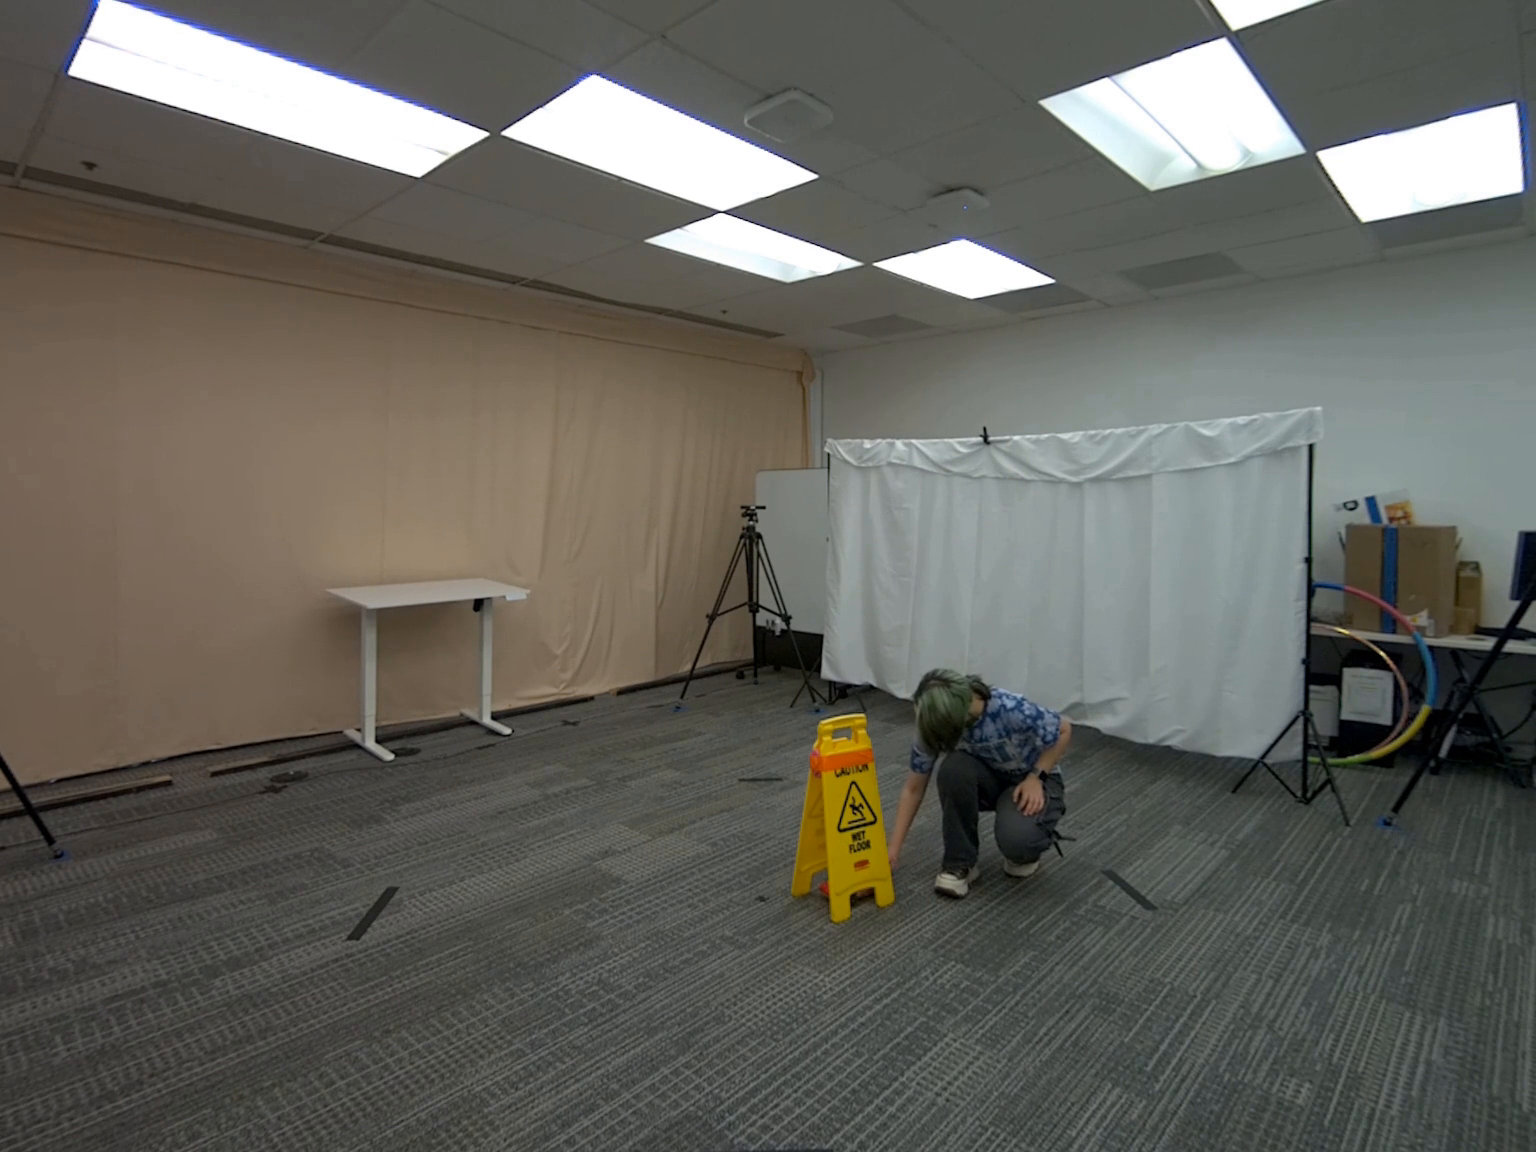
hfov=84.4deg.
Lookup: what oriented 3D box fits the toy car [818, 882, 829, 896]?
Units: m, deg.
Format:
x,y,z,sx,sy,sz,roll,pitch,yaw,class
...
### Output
x,y,z,sx,sy,sz,roll,pitch,yaw,class
0.316,1.125,2.992,0.247,0.083,0.134,7,-1,-32,toy car
